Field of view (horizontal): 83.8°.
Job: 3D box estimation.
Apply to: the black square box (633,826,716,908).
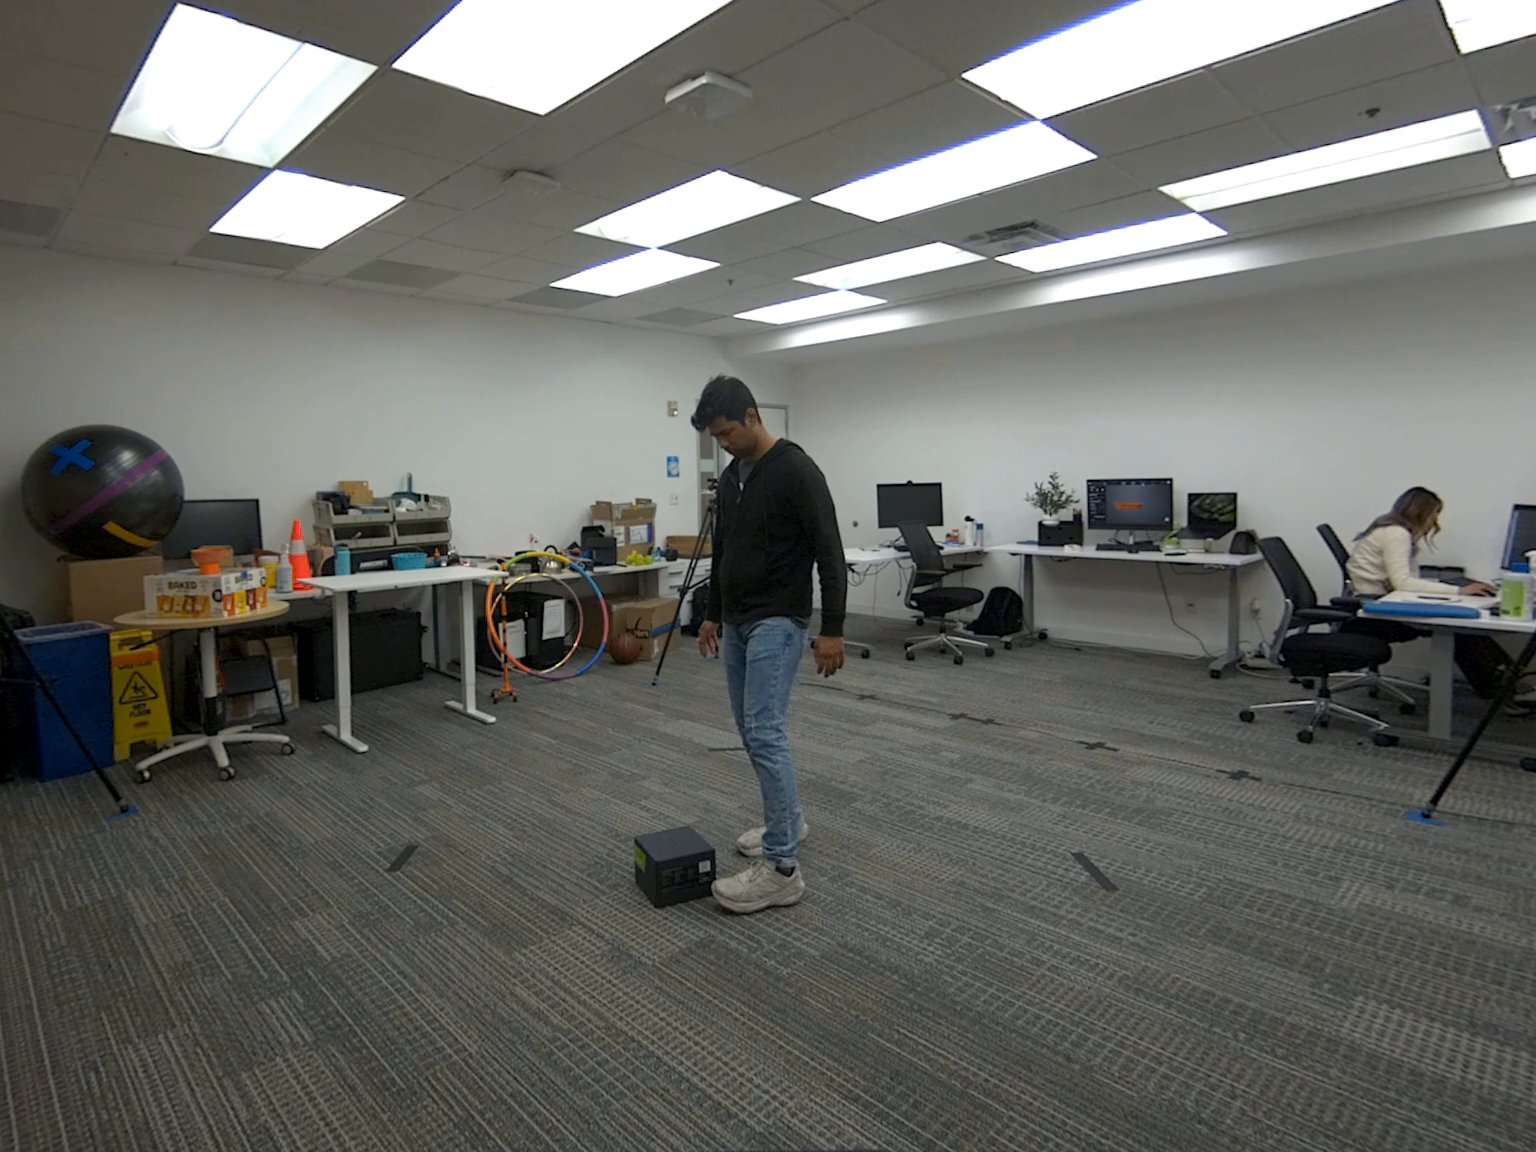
[{"bbox_3d":[-0.310,0.984,2.918,0.212,0.155,0.234,-4,6,-27],"label":"black square box"}]
